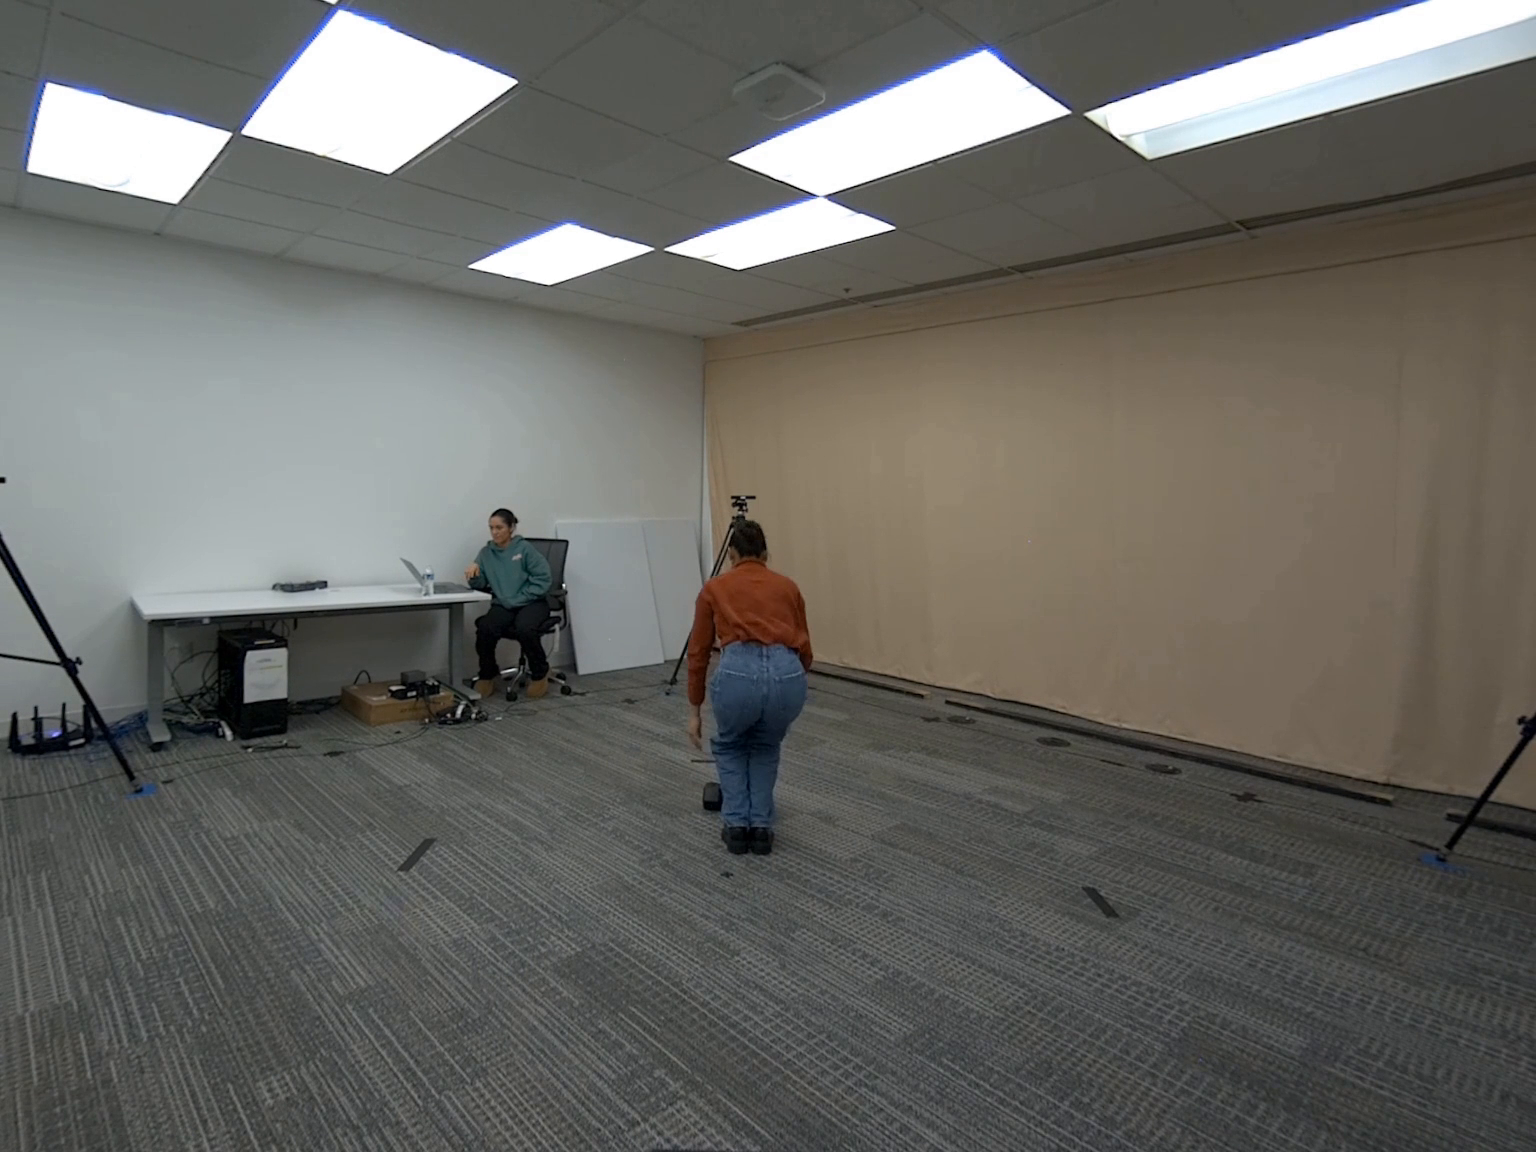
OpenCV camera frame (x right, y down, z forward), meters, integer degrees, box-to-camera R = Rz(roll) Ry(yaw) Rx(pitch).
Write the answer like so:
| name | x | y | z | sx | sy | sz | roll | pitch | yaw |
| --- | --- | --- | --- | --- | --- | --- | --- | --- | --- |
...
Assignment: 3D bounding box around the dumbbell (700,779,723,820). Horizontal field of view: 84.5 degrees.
| name | x | y | z | sx | sy | sz | roll | pitch | yaw |
| --- | --- | --- | --- | --- | --- | --- | --- | --- | --- |
| dumbbell | -0.146 | 0.996 | 3.755 | 0.295 | 0.120 | 0.110 | 2 | 35 | 6 |
